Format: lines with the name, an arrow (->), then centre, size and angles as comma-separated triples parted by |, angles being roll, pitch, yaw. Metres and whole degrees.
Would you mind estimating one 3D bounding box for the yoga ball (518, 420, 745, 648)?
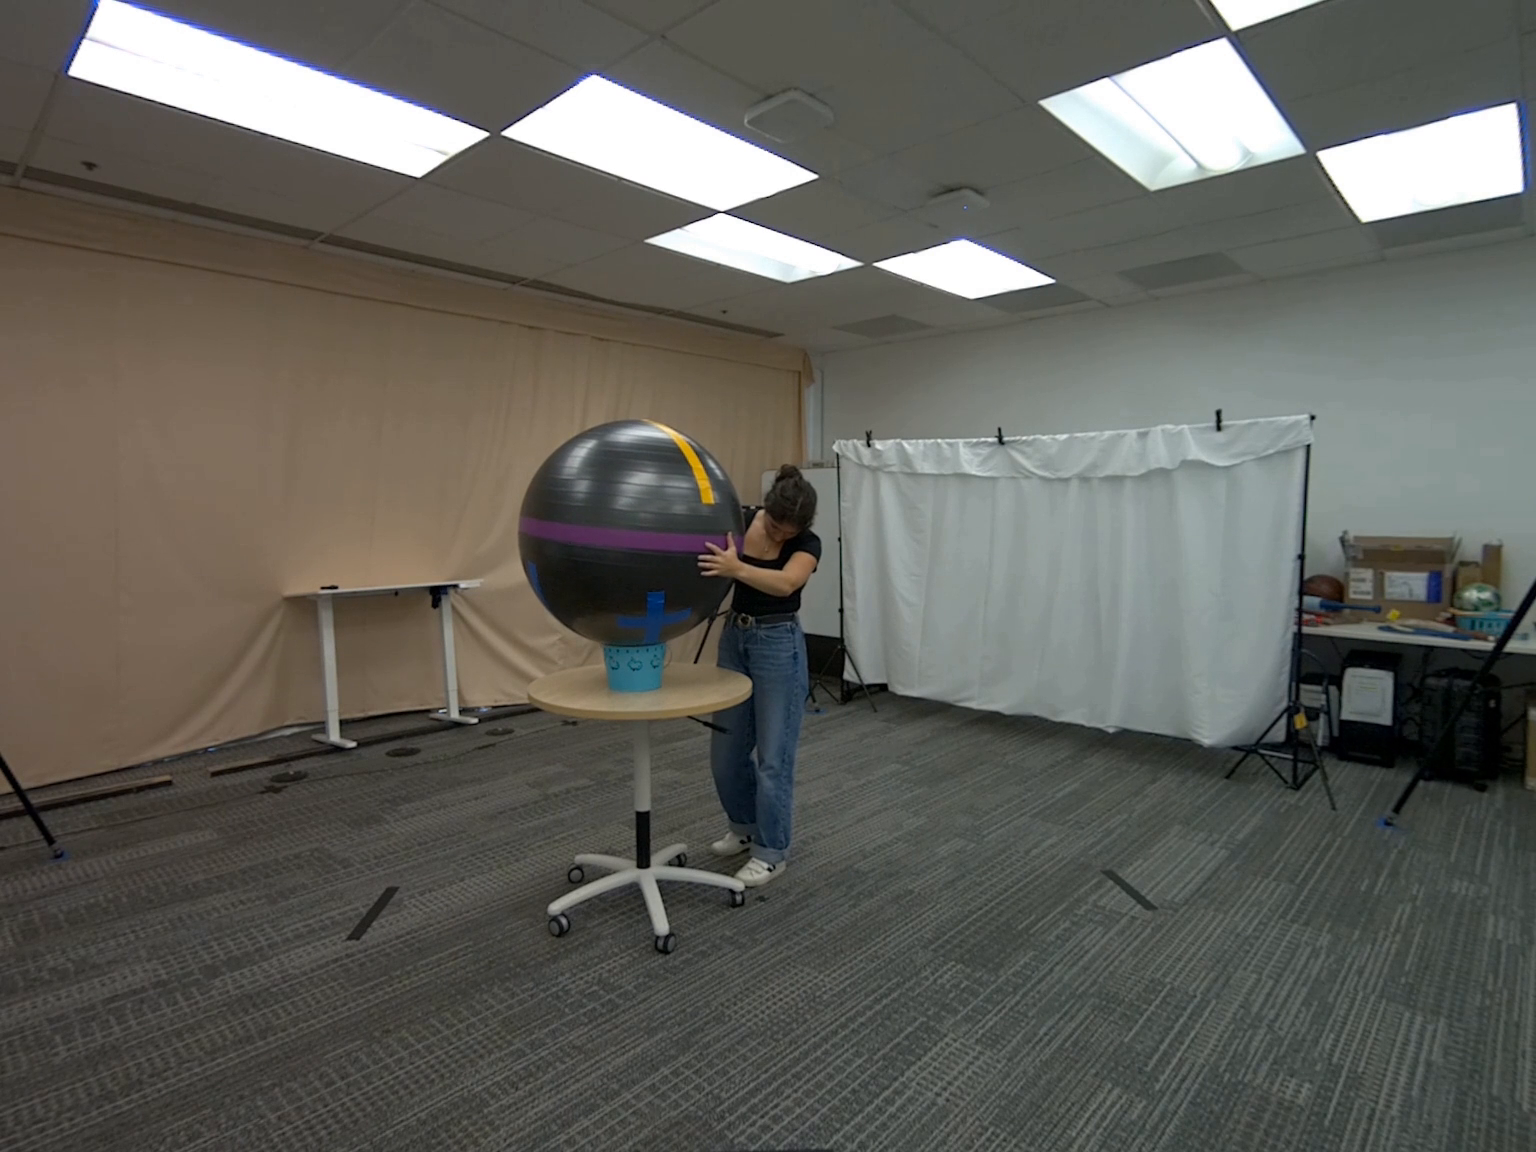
yoga ball -> -0.461, -0.140, 2.842 | 0.757, 0.756, 0.760 | 0, 4, -2
